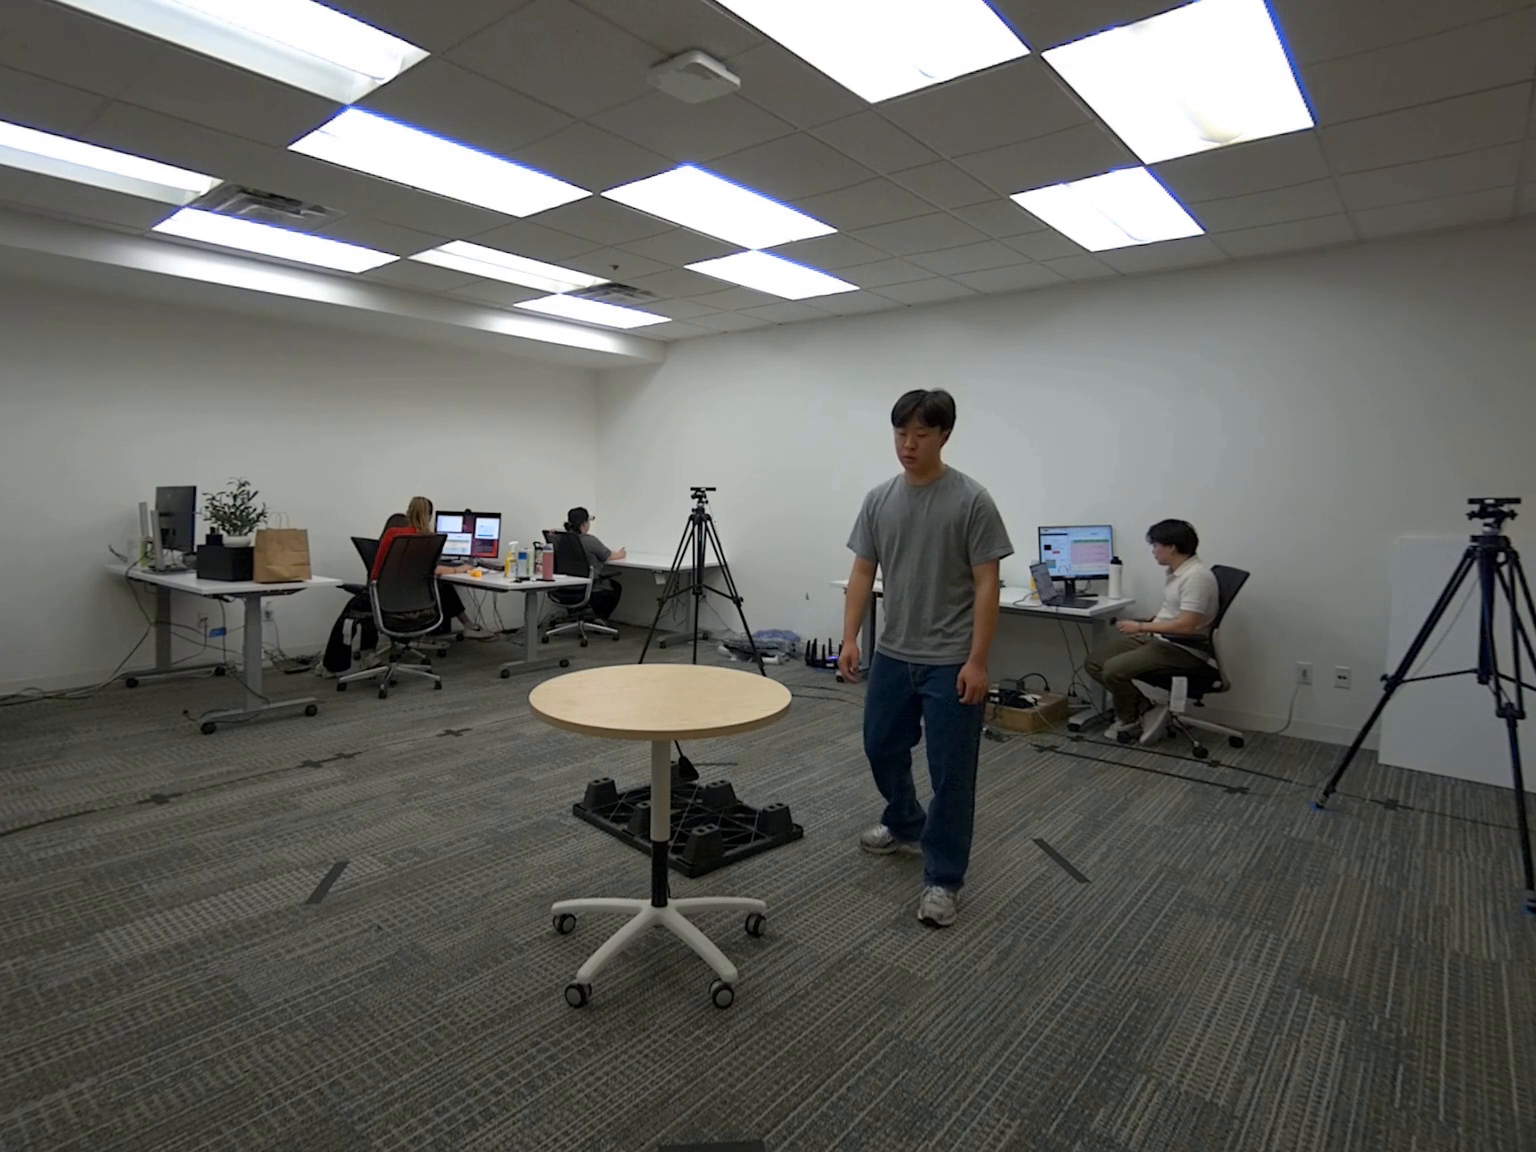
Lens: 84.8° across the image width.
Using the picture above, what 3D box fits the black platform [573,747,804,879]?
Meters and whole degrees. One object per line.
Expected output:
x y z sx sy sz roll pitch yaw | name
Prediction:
-0.357 0.958 3.505 0.587 0.143 0.833 -4 7 -44 | black platform
